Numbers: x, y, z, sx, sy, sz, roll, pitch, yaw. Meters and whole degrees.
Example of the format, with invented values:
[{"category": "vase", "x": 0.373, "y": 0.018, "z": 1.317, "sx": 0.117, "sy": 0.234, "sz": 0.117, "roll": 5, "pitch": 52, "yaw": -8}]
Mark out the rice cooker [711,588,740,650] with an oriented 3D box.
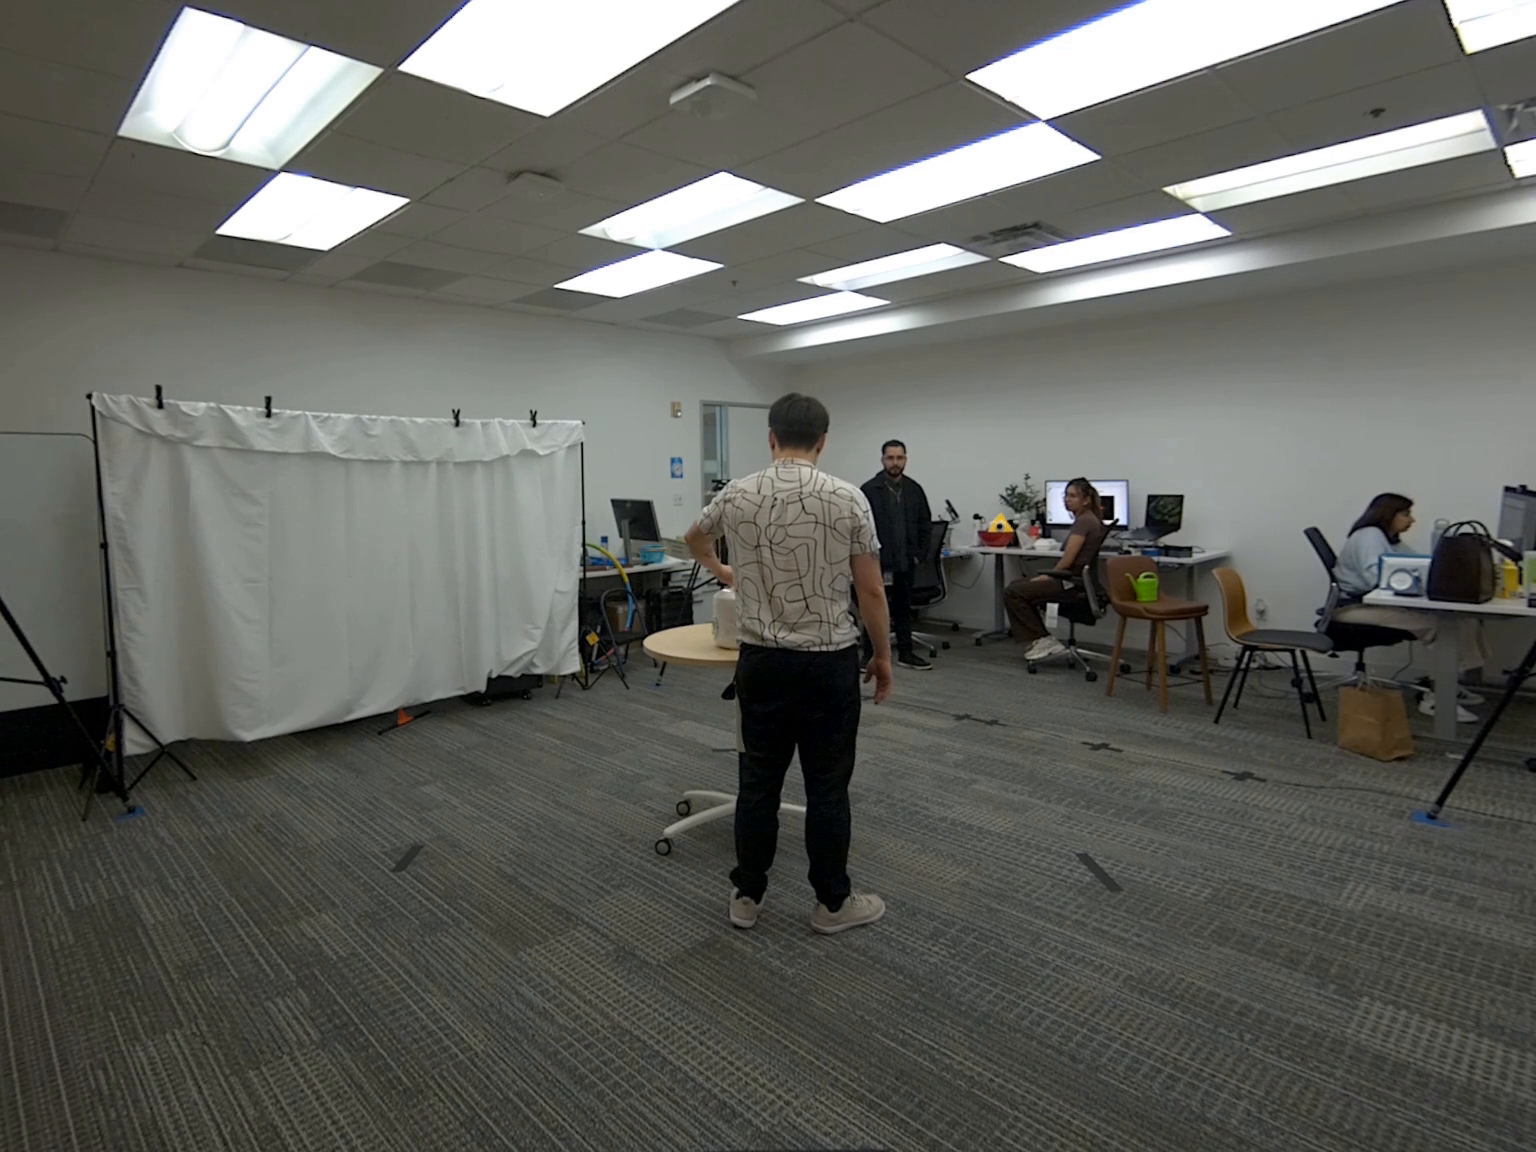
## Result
[{"category": "rice cooker", "x": -0.097, "y": 0.142, "z": 3.169, "sx": 0.214, "sy": 0.232, "sz": 0.225, "roll": -2, "pitch": 4, "yaw": -19}]
